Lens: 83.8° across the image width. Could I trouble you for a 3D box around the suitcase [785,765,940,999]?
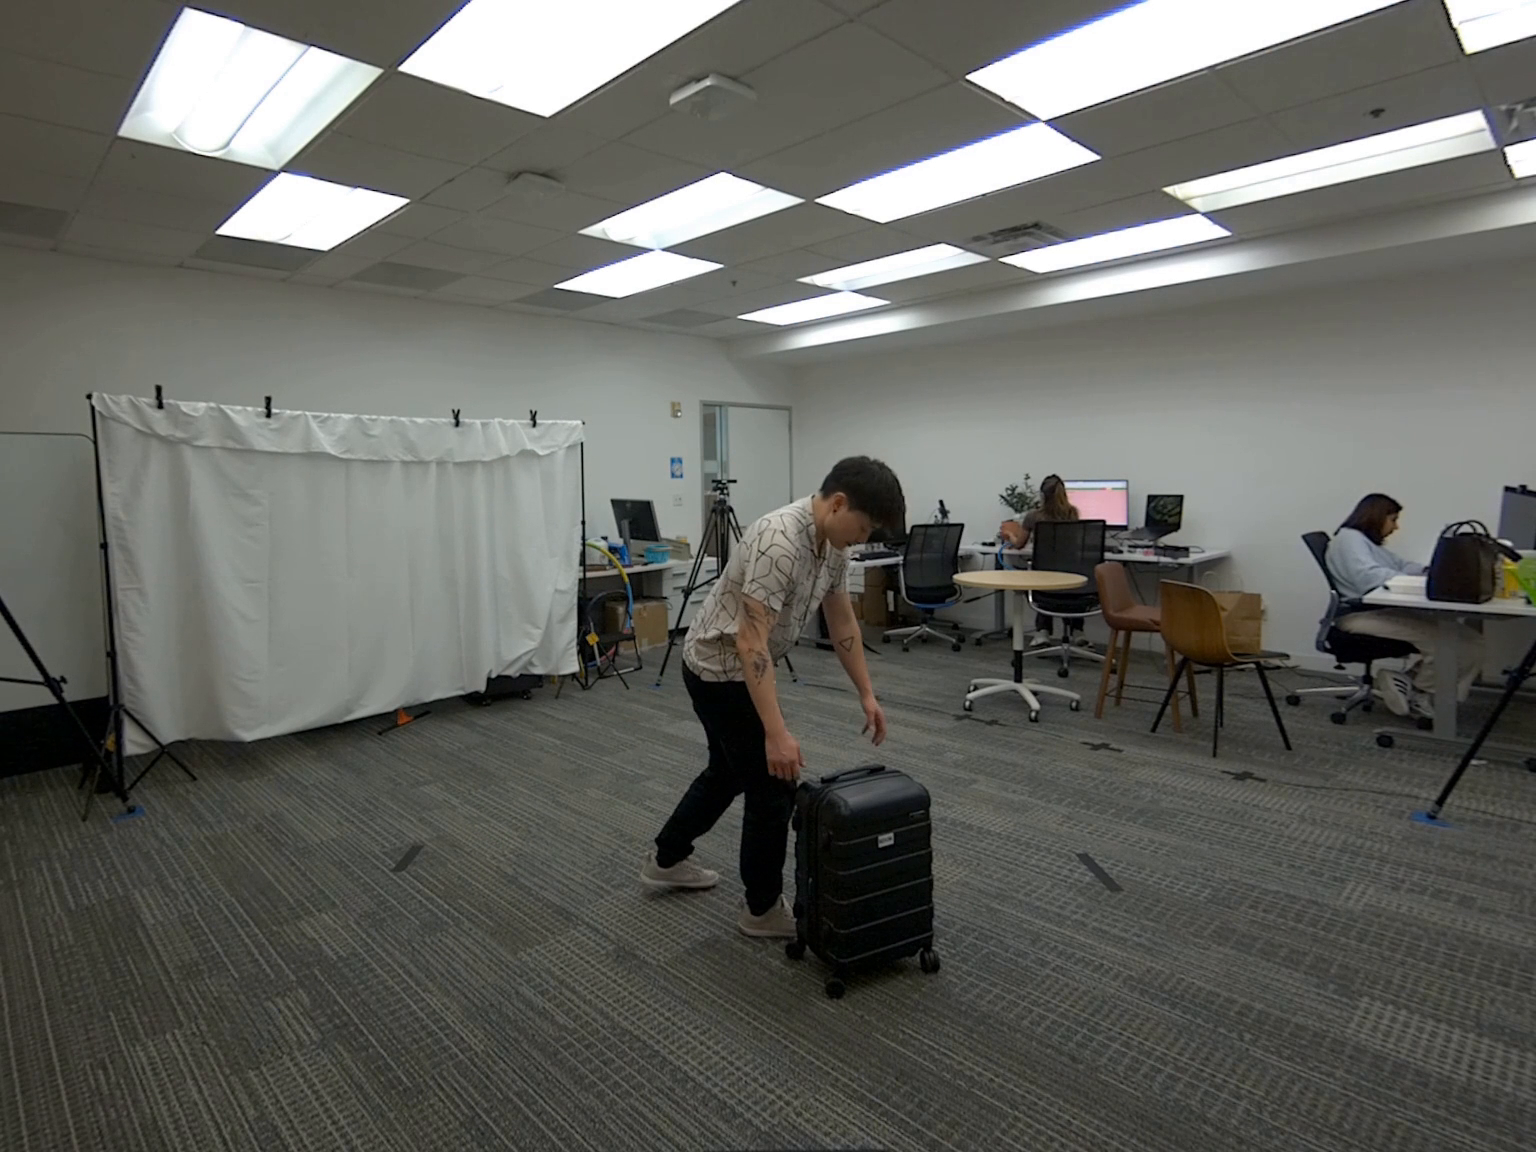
[{"bbox_3d":[0.282,0.837,2.449,0.367,0.548,0.254,-2,4,-26],"label":"suitcase"}]
